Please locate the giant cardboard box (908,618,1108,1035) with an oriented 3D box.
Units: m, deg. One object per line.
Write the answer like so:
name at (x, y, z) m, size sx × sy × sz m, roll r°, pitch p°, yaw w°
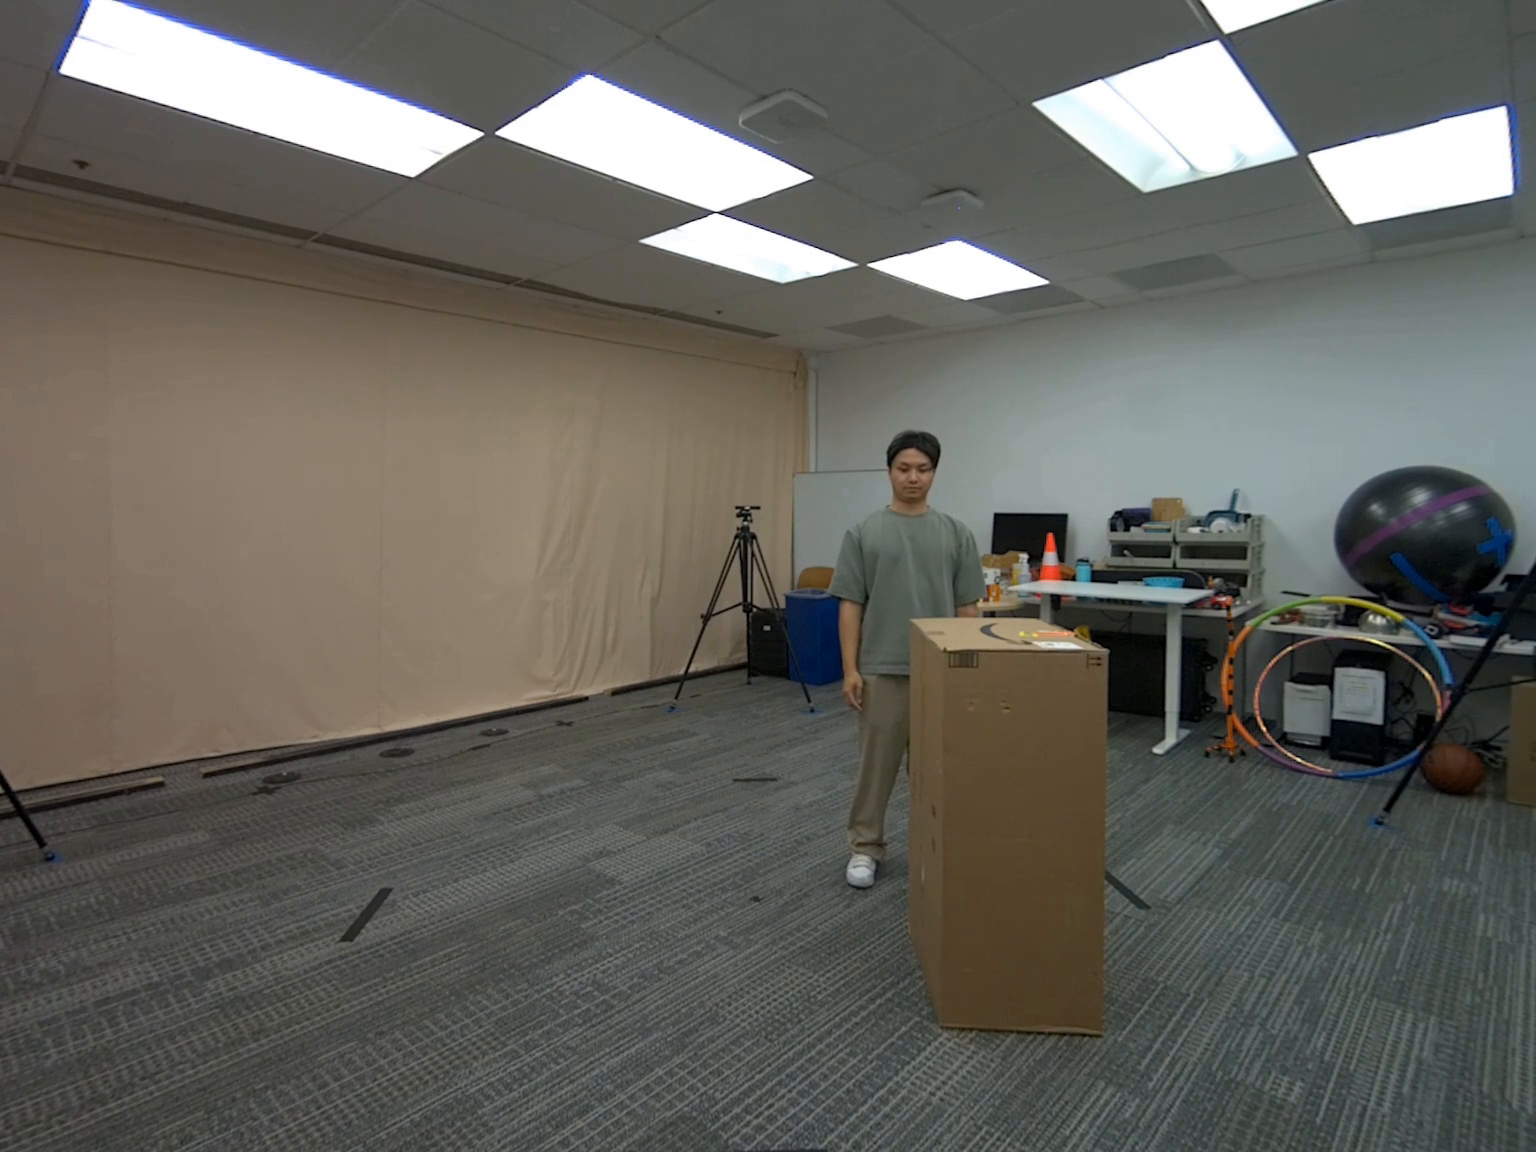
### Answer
giant cardboard box at (0.682, 0.673, 2.479) m, size 0.428 × 1.024 × 0.577 m, roll -1°, pitch 3°, yaw 2°
